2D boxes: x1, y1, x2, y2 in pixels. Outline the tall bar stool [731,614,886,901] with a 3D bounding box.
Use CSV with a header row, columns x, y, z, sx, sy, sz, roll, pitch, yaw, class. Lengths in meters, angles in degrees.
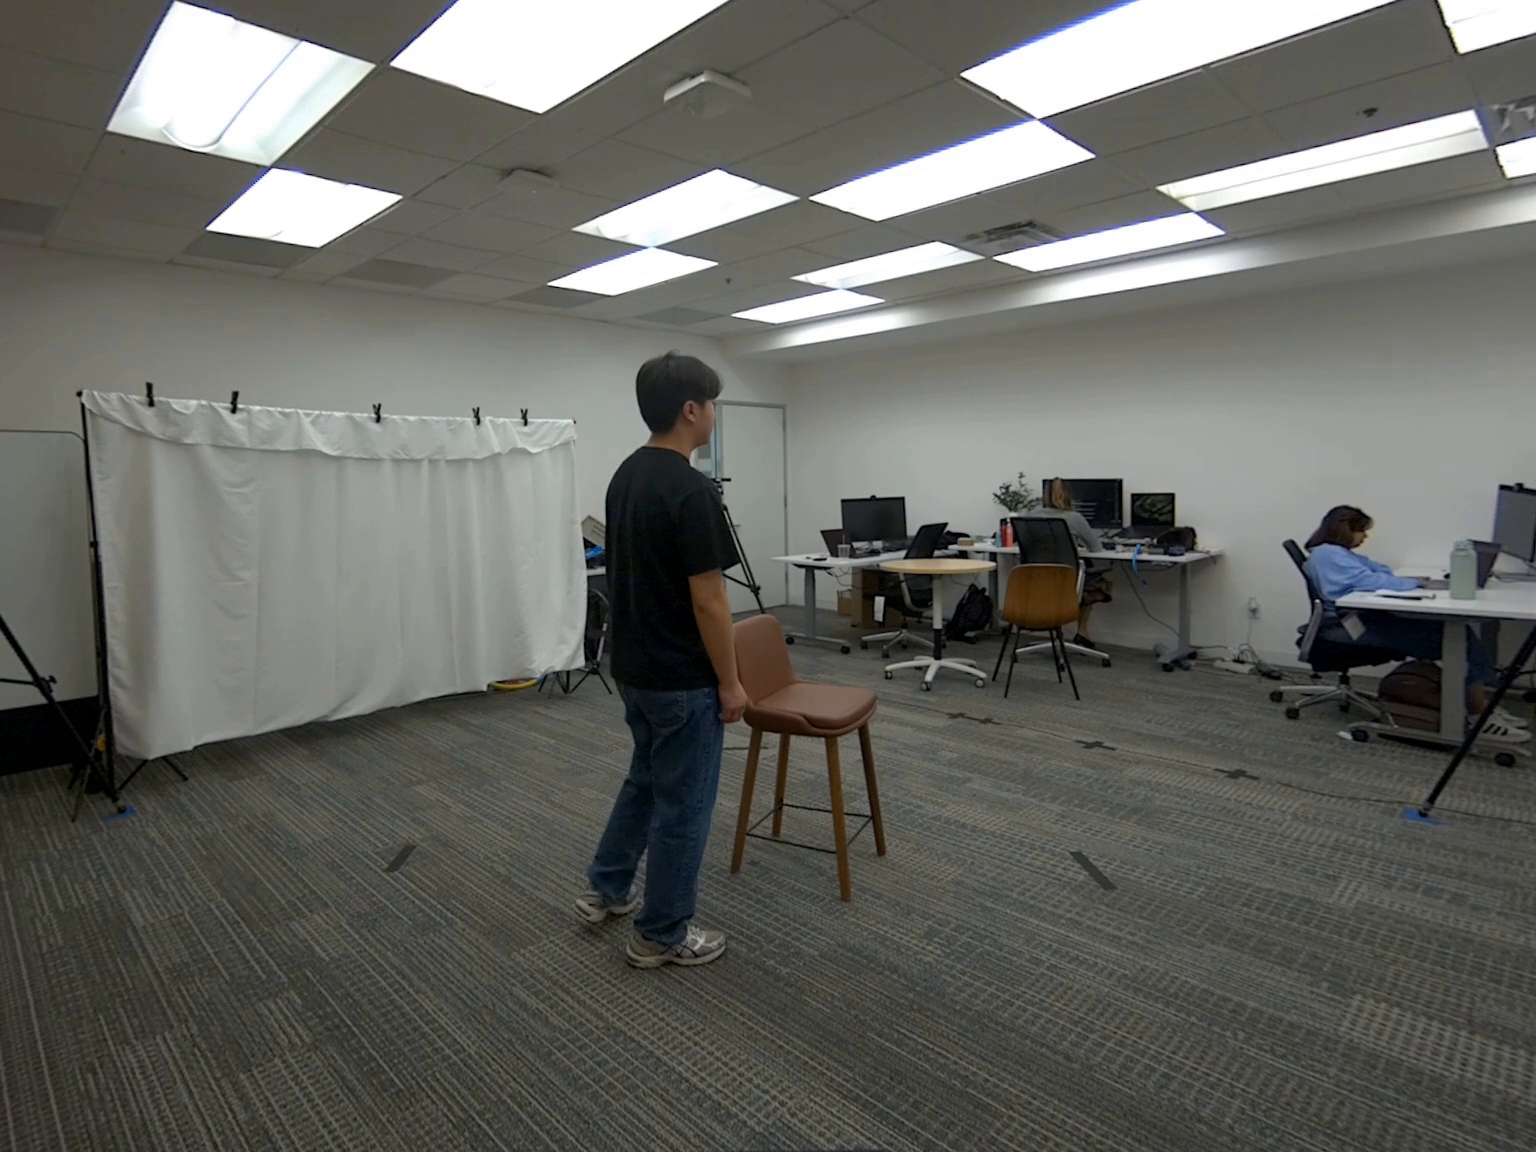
x,y,z,sx,sy,sz,roll,pitch,yaw,class
0.142,0.608,3.070,0.479,0.888,0.446,-1,3,28,tall bar stool
